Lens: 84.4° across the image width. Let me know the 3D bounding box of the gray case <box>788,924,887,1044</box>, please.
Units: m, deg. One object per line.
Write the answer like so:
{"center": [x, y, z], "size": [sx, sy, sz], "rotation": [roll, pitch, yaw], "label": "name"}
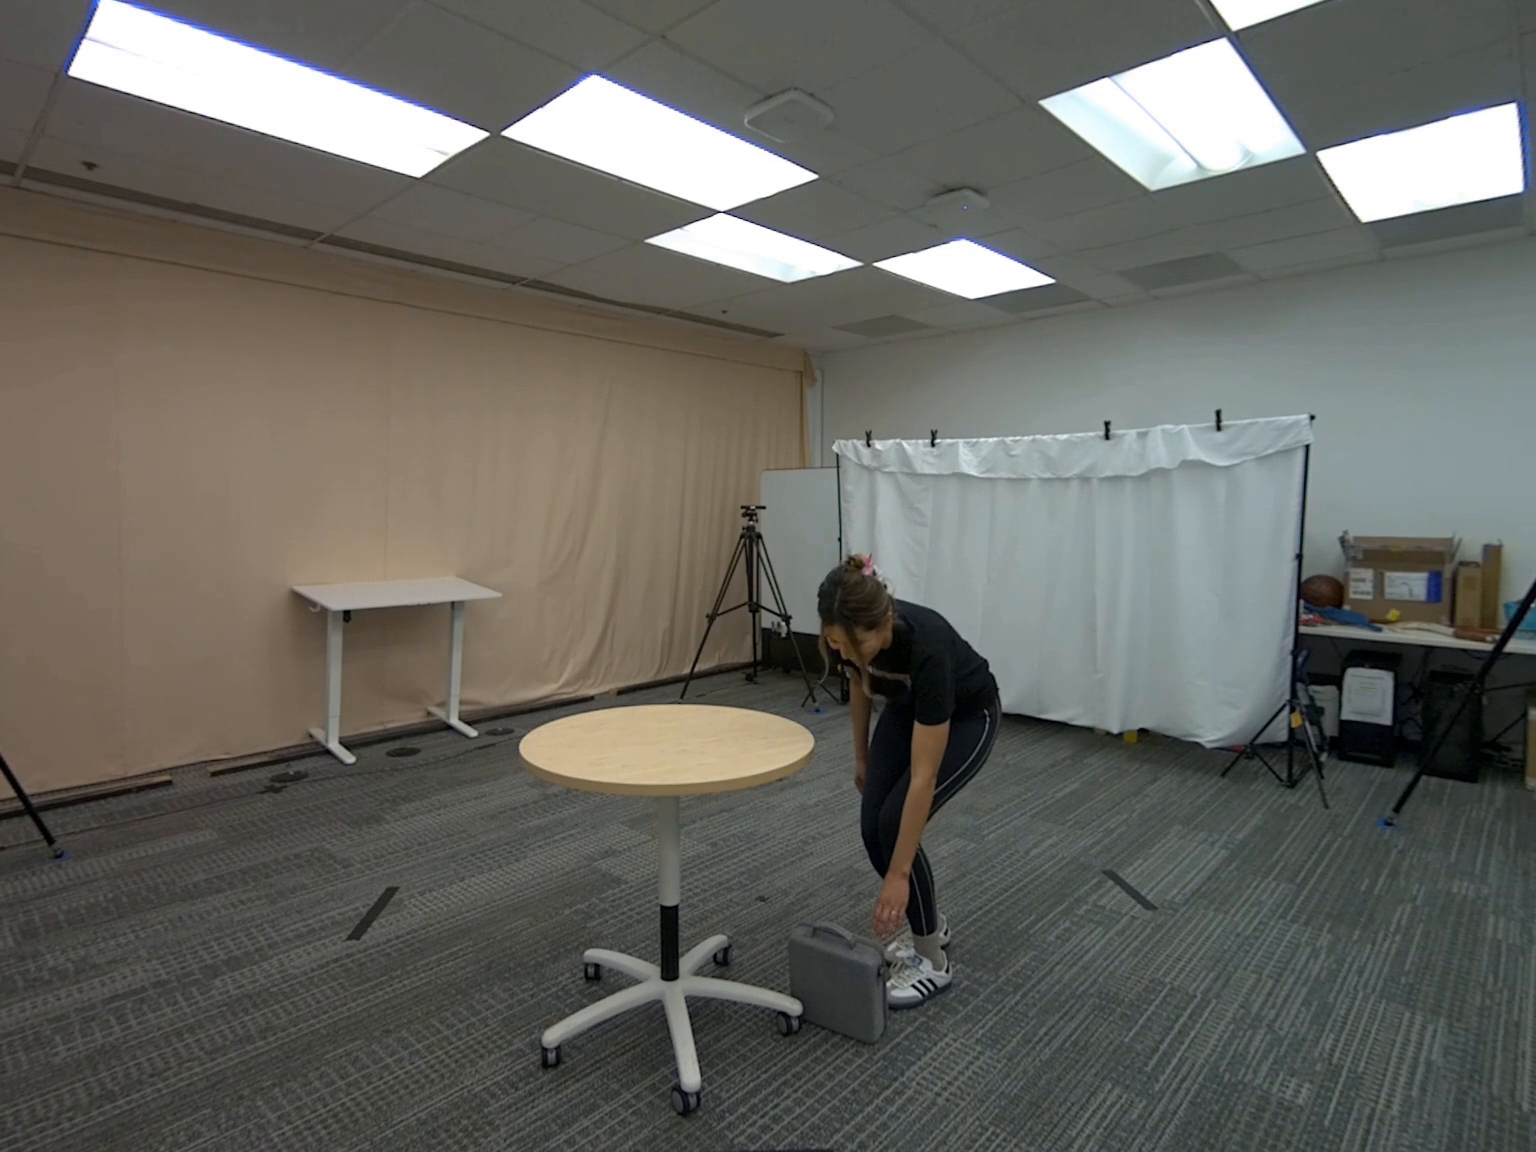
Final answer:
{"center": [0.198, 1.070, 2.251], "size": [0.265, 0.259, 0.102], "rotation": [4, 12, 37], "label": "gray case"}
